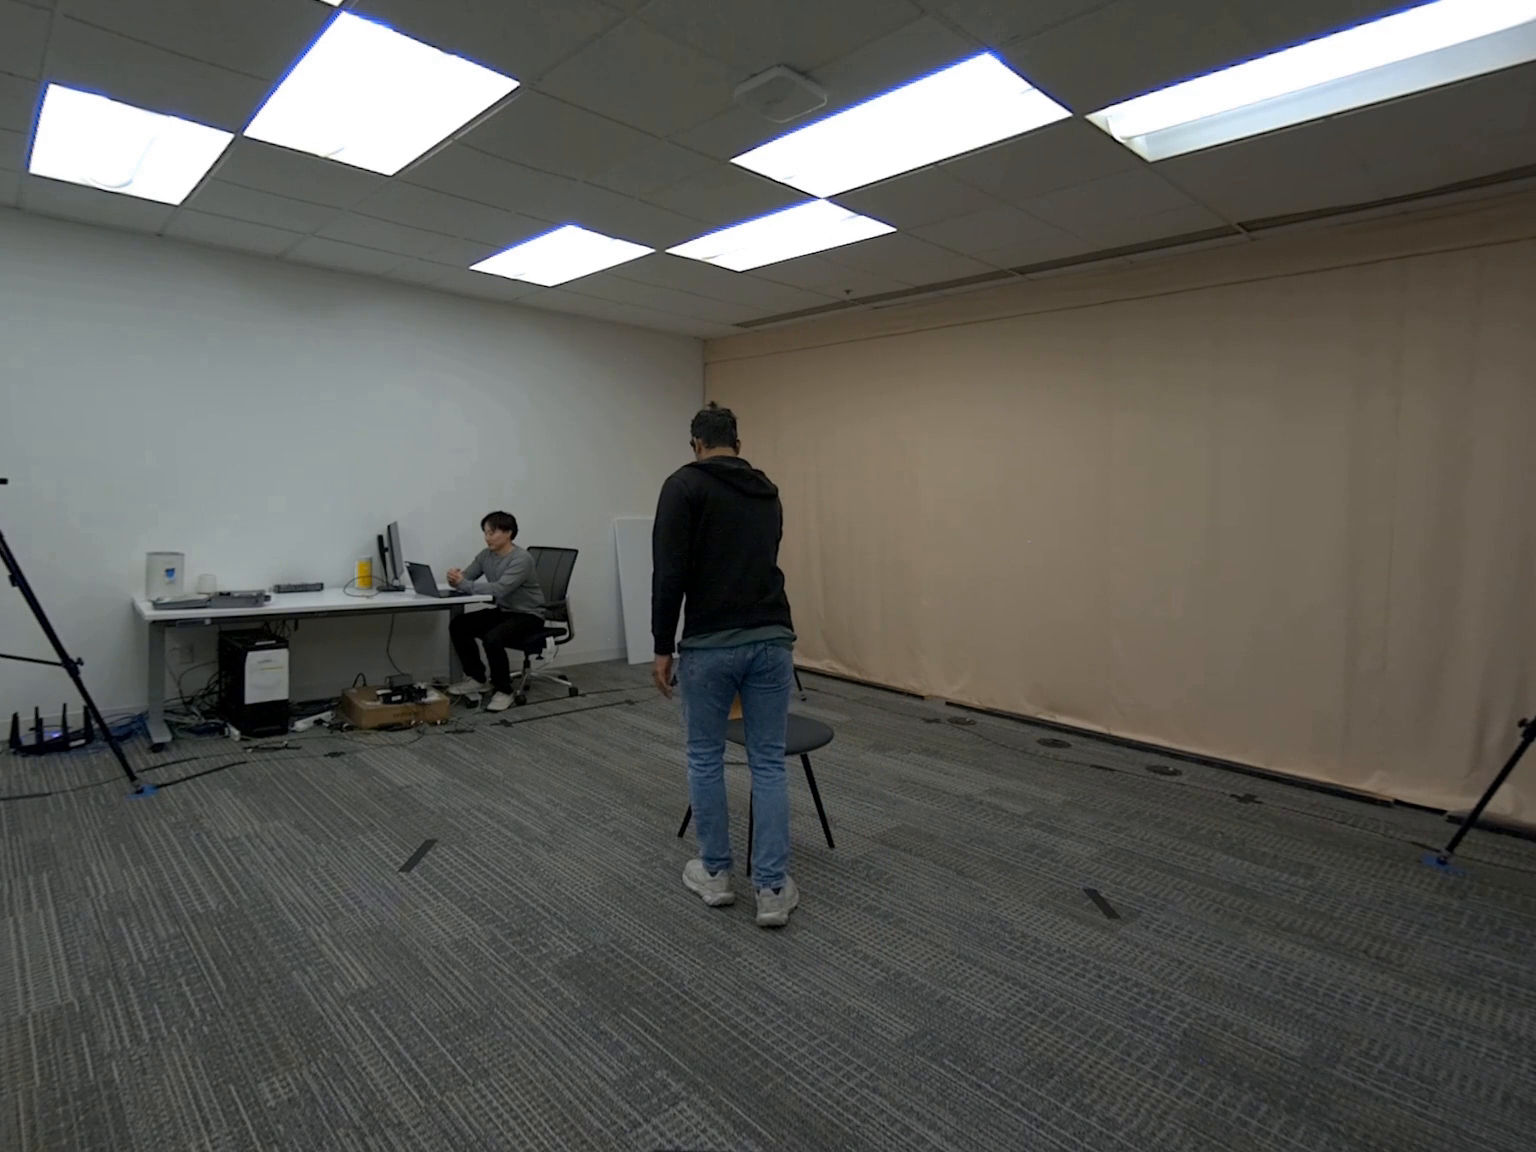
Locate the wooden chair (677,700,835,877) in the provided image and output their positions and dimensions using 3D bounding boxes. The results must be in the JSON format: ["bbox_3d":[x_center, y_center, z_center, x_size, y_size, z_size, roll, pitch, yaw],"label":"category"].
[{"bbox_3d":[-0.042,0.661,3.382,0.467,0.878,0.535,-1,0,-40],"label":"wooden chair"}]
